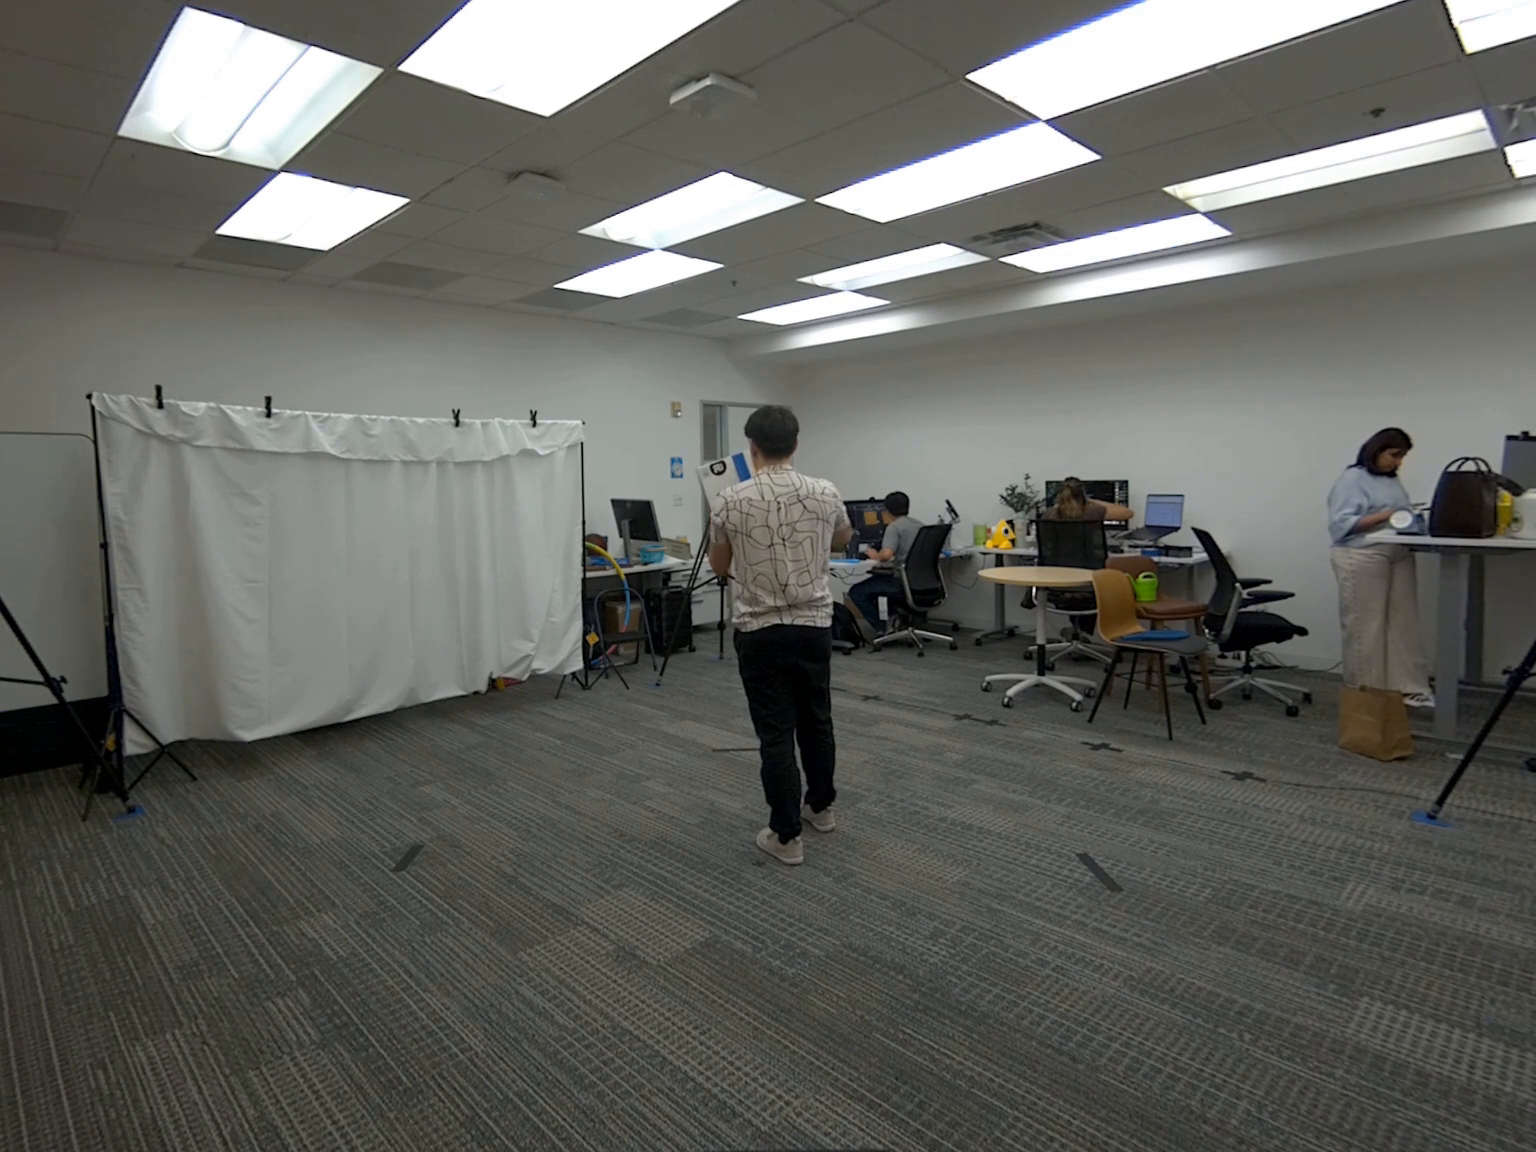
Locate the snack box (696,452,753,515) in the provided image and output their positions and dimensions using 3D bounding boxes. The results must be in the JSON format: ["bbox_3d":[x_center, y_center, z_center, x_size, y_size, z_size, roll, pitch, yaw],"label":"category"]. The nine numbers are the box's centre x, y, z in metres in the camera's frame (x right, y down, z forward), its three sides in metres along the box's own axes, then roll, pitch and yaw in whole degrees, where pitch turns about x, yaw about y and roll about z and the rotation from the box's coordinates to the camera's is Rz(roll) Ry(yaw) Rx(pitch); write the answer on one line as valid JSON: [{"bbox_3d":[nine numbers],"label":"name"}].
[{"bbox_3d":[-0.081,-0.328,3.656,0.339,0.402,0.208,-21,7,-4],"label":"snack box"}]
